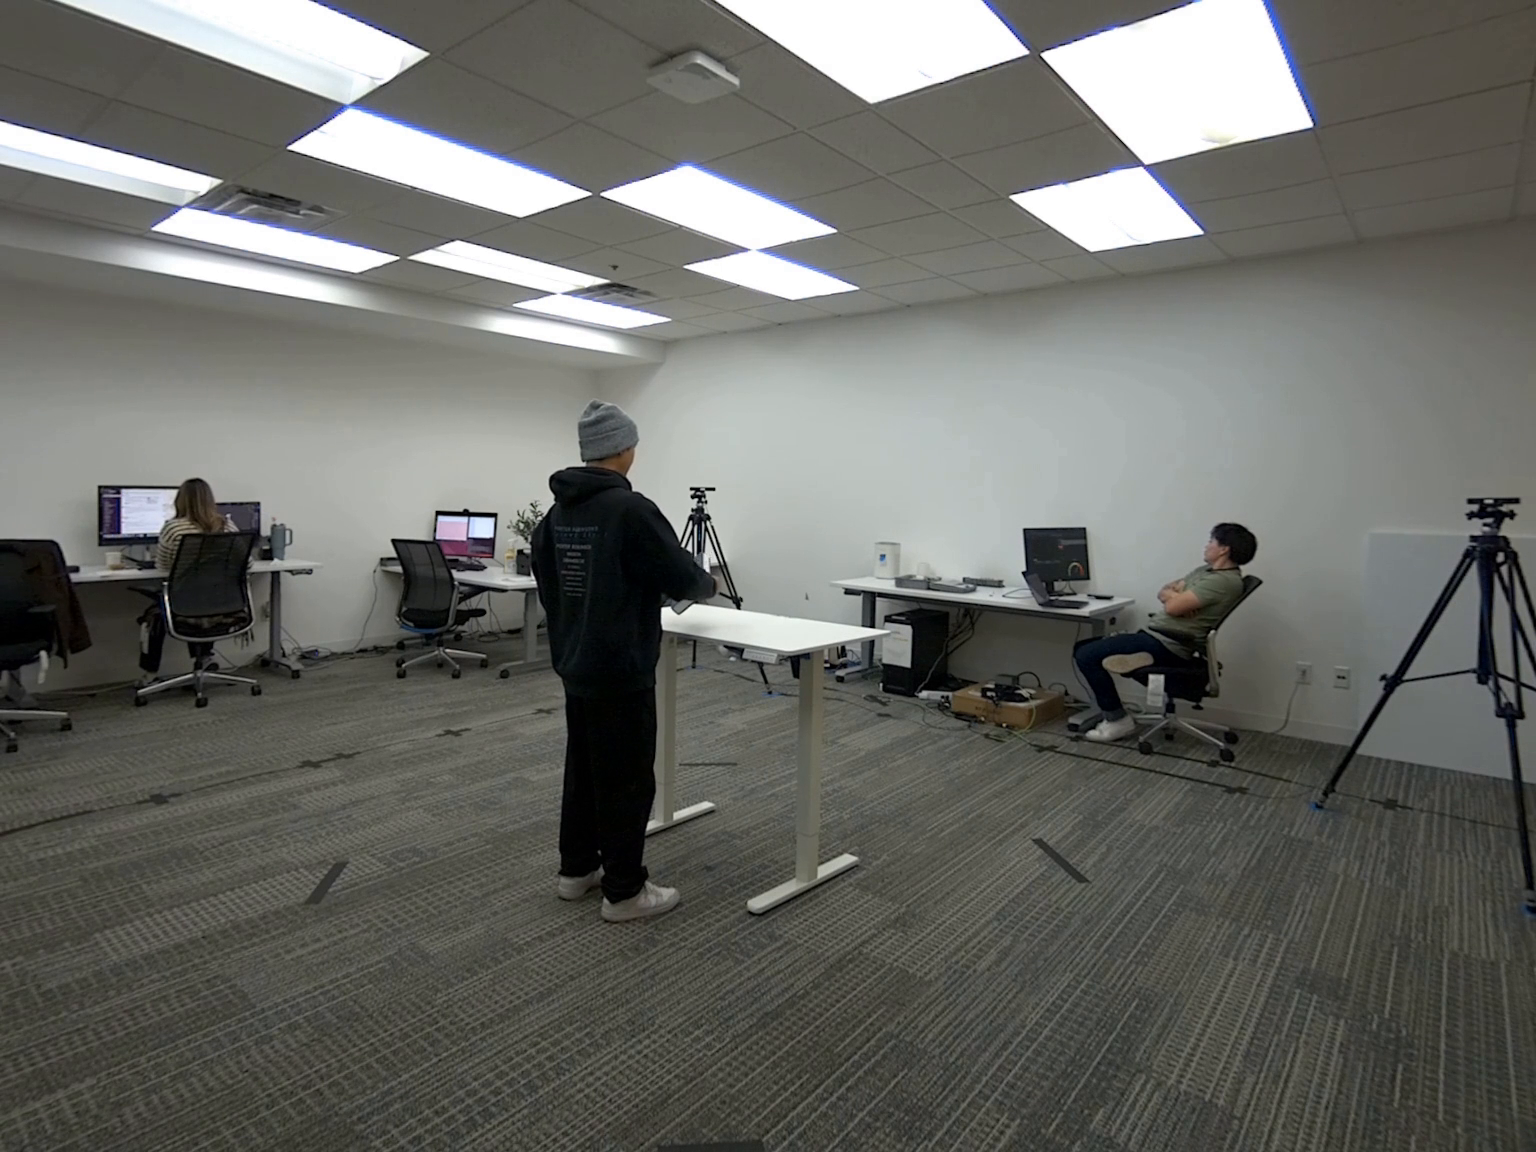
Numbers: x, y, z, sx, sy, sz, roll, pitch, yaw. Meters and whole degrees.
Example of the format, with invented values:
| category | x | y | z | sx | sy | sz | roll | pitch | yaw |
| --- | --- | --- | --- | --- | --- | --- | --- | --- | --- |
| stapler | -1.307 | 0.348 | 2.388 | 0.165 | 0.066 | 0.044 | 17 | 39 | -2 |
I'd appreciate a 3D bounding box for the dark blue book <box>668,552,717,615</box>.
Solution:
| category | x | y | z | sx | sy | sz | roll | pitch | yaw |
| --- | --- | --- | --- | --- | --- | --- | --- | --- | --- |
| dark blue book | -0.295 | 0.021 | 3.162 | 0.044 | 0.164 | 0.252 | 43 | 16 | -25 |
